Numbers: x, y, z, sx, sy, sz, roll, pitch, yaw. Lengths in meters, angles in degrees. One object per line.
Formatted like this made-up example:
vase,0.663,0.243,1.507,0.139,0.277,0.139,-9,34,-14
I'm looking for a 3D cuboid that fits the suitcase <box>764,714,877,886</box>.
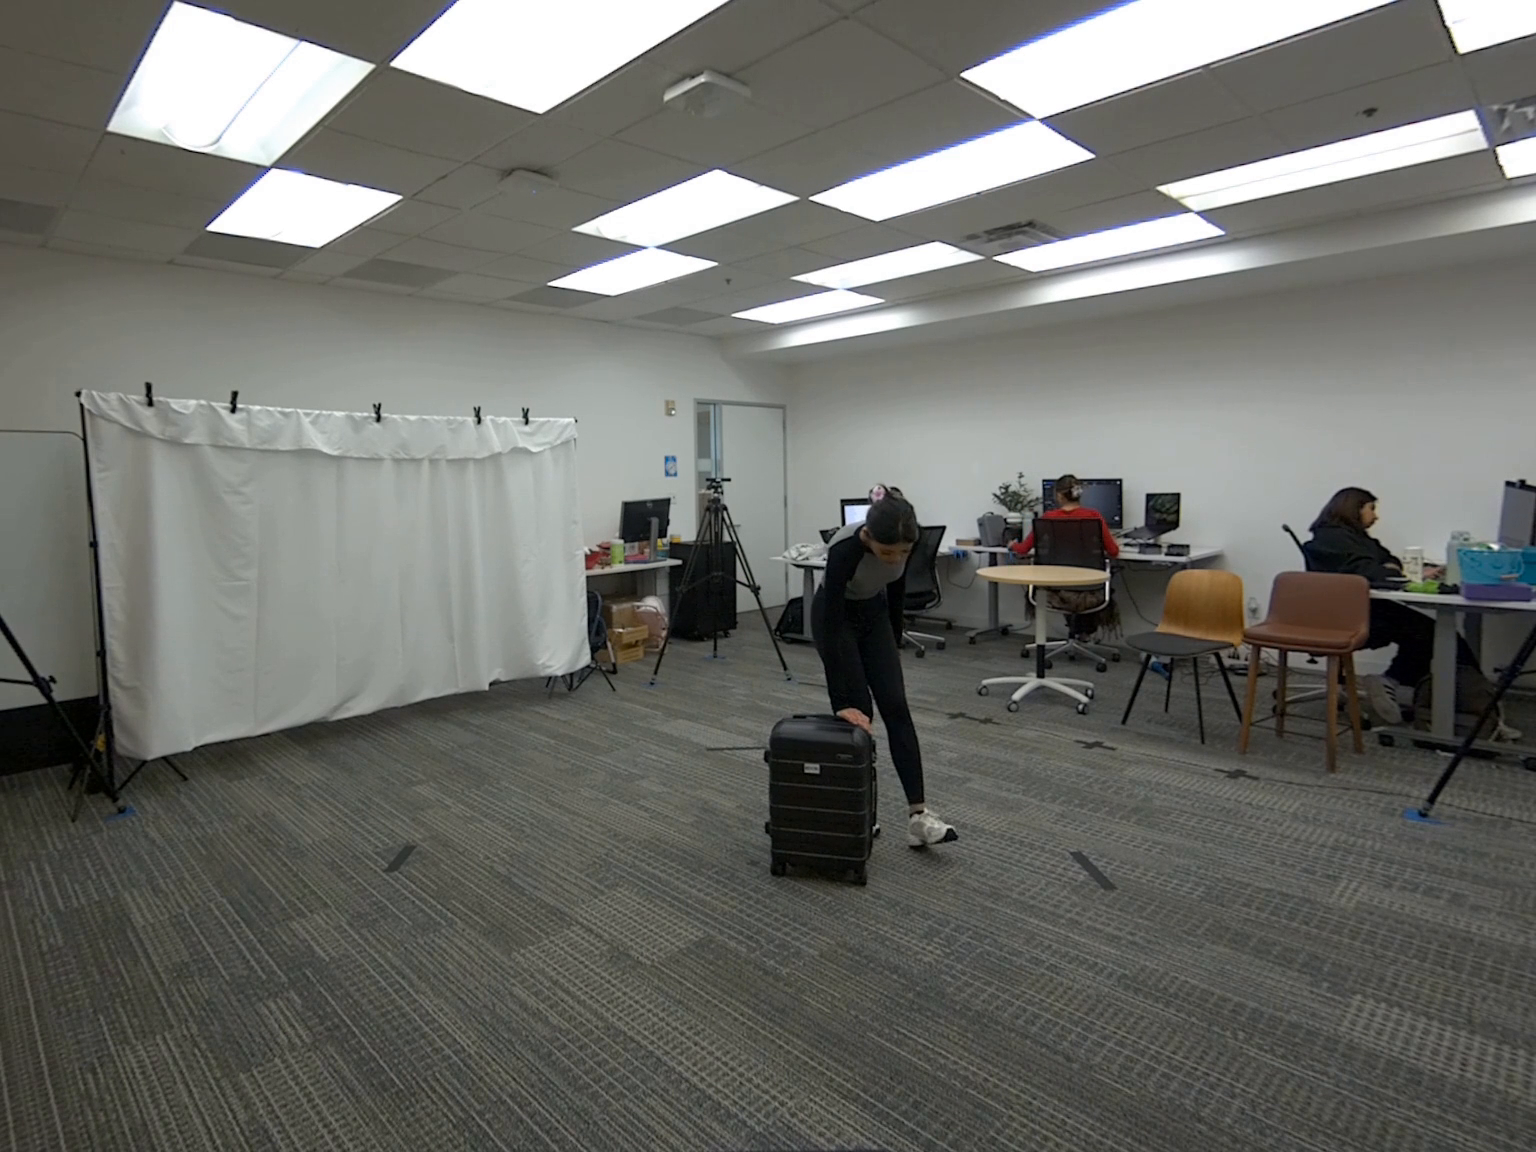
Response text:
suitcase,0.191,0.774,3.020,0.381,0.546,0.246,2,7,16
